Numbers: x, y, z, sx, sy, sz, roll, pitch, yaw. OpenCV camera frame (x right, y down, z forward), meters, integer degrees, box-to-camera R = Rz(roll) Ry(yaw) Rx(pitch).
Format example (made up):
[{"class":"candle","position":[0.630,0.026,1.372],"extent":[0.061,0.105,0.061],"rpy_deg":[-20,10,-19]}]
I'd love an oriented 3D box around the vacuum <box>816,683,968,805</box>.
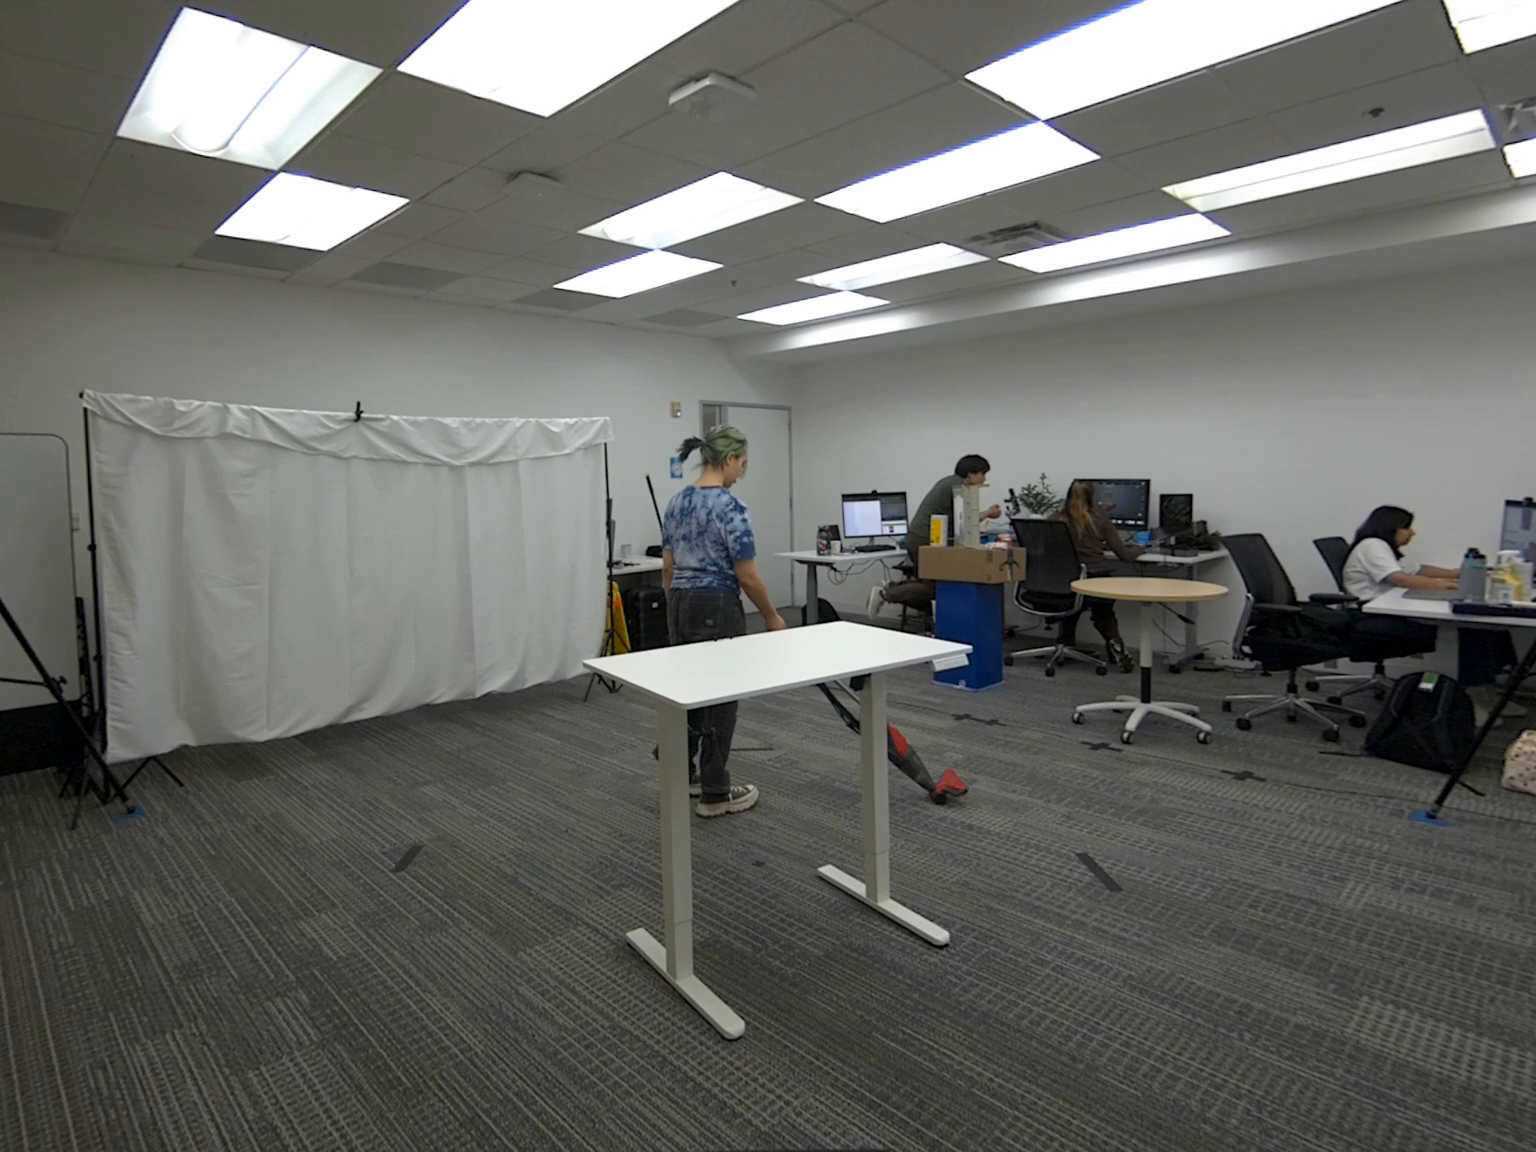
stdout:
[{"class":"vacuum","position":[0.383,0.589,3.679],"extent":[1.047,0.144,0.253],"rpy_deg":[41,2,-2]}]
